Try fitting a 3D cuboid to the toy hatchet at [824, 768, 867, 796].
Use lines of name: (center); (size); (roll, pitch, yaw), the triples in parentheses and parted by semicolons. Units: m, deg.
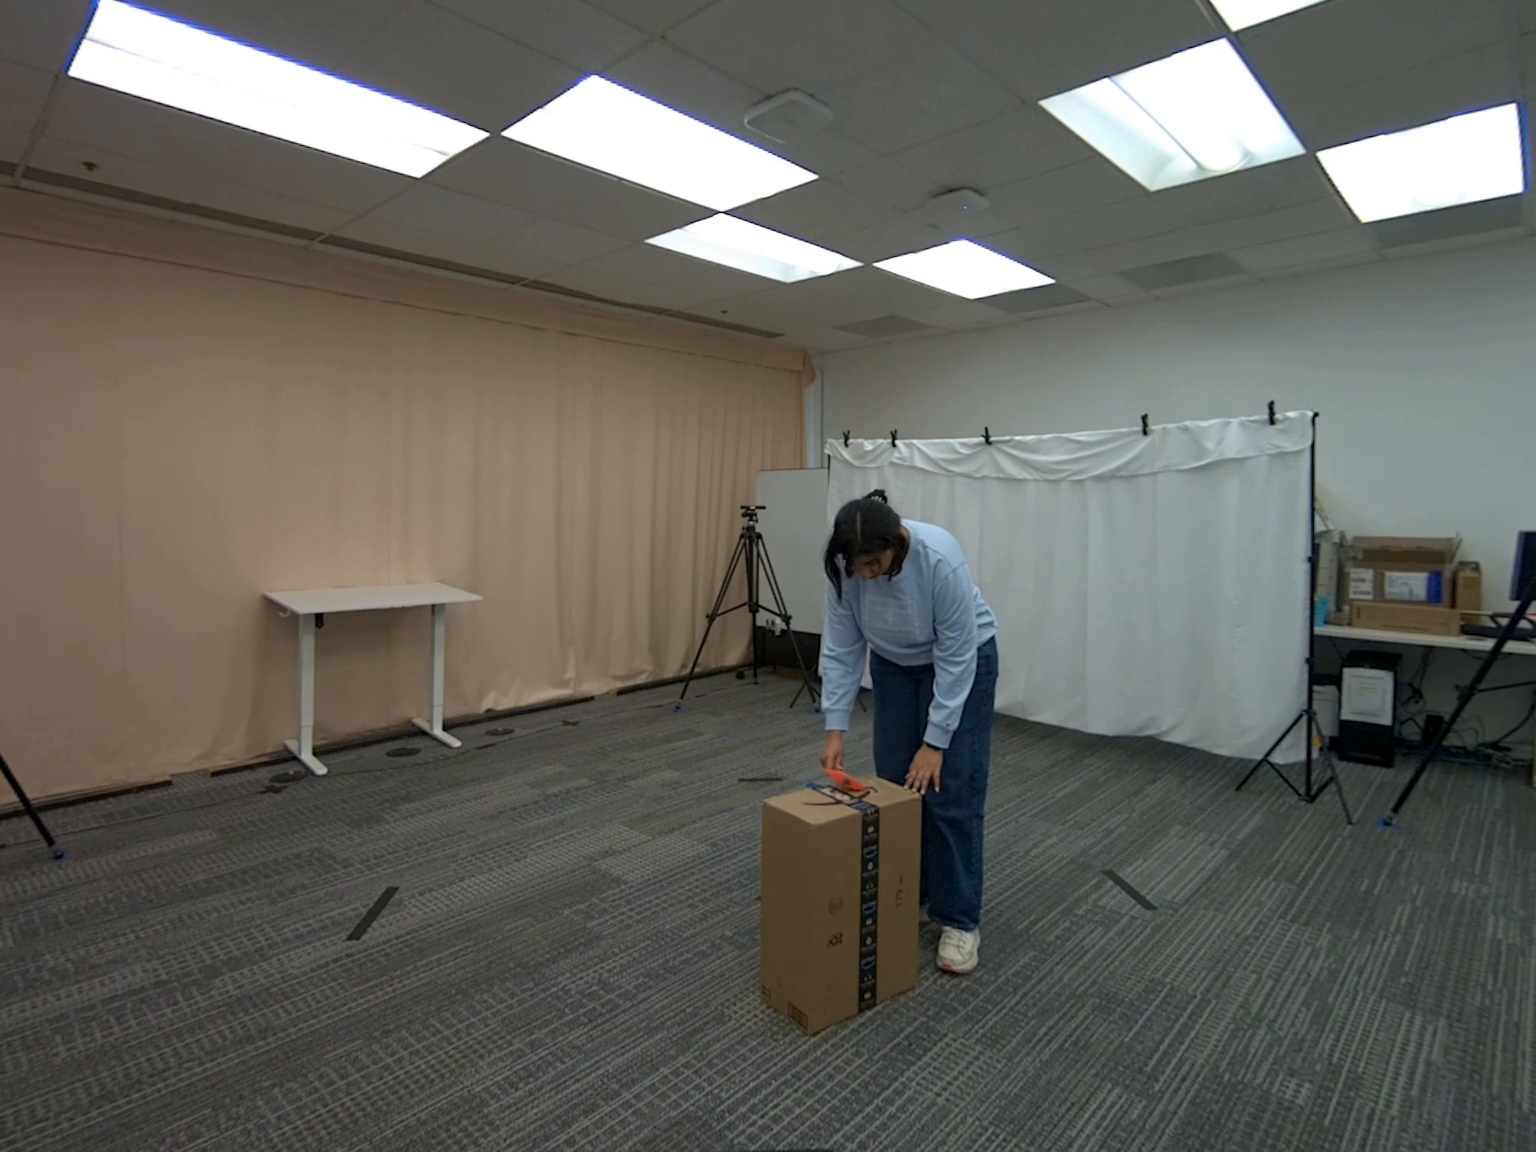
toy hatchet: (0.295, 0.611, 2.541); (0.135, 0.029, 0.262); (14, -1, 28)
